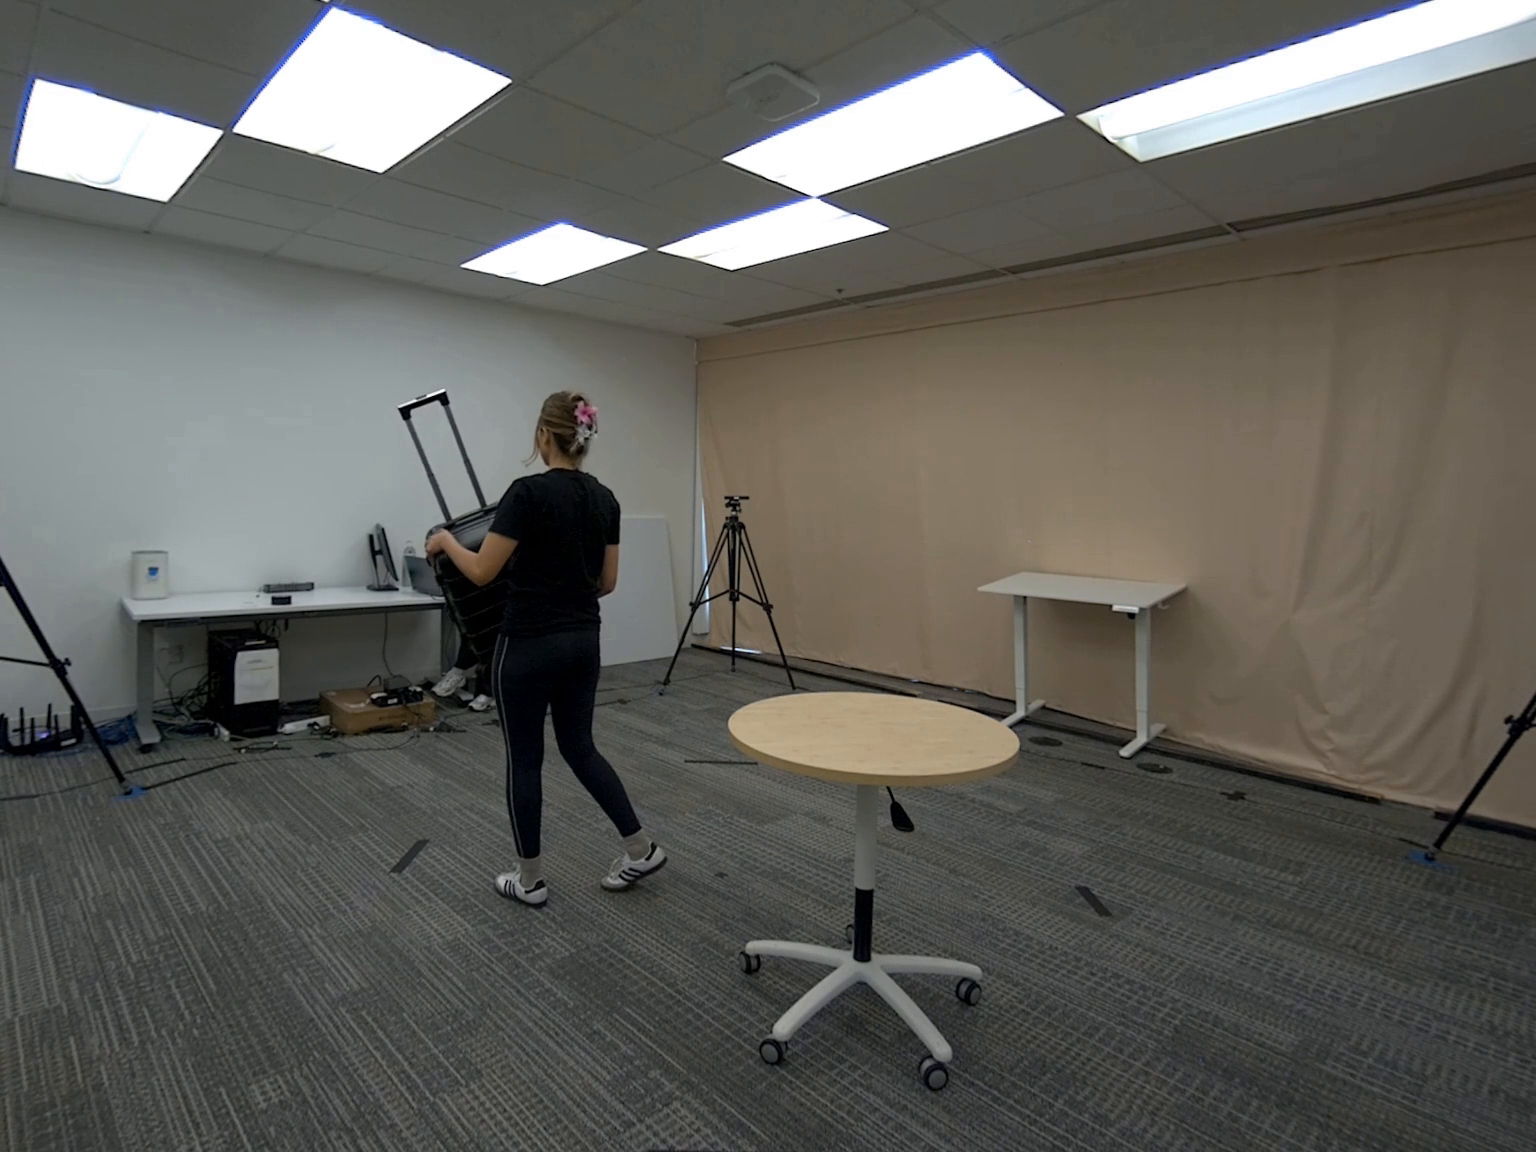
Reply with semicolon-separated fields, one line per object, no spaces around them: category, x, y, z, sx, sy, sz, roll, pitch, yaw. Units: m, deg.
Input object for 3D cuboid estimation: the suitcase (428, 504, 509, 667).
suitcase;-1.005;-0.140;2.925;0.381;0.955;0.265;-23;37;-20
